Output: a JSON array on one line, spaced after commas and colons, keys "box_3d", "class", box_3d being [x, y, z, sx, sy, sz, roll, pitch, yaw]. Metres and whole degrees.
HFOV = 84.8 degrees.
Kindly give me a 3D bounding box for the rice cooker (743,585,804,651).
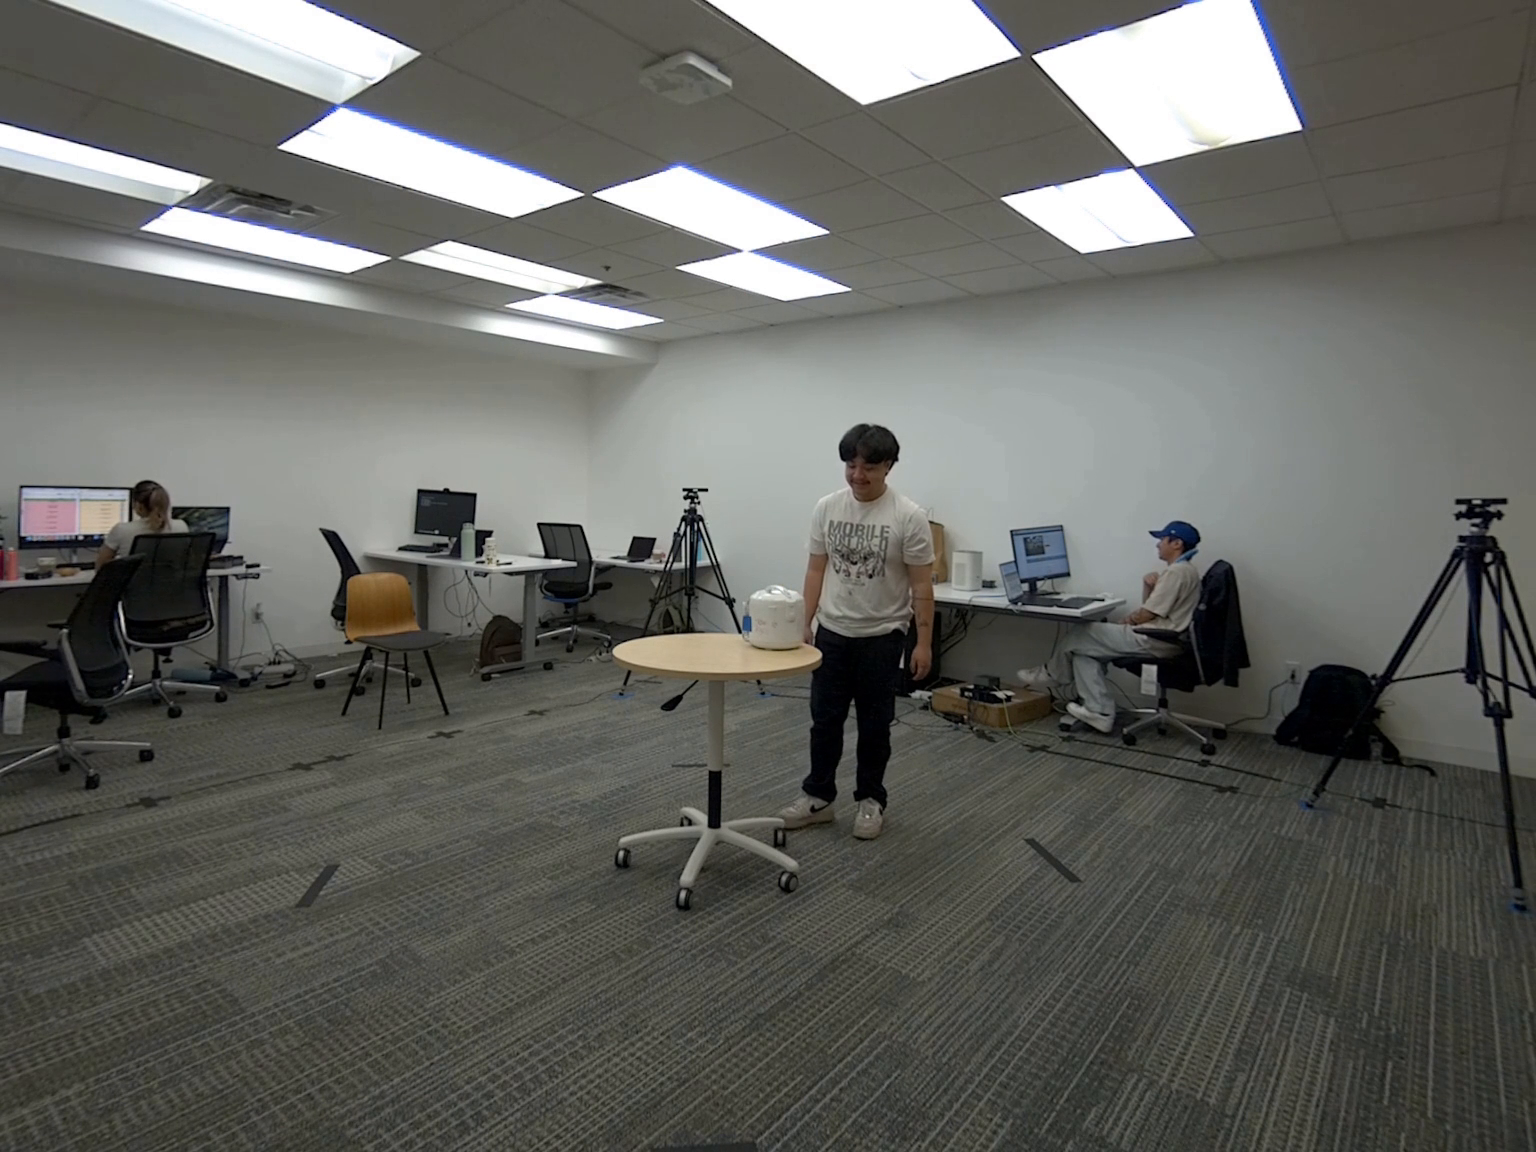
[{"box_3d": [0.023, 0.149, 3.226, 0.212, 0.232, 0.227, -2, 6, -29], "class": "rice cooker"}]
